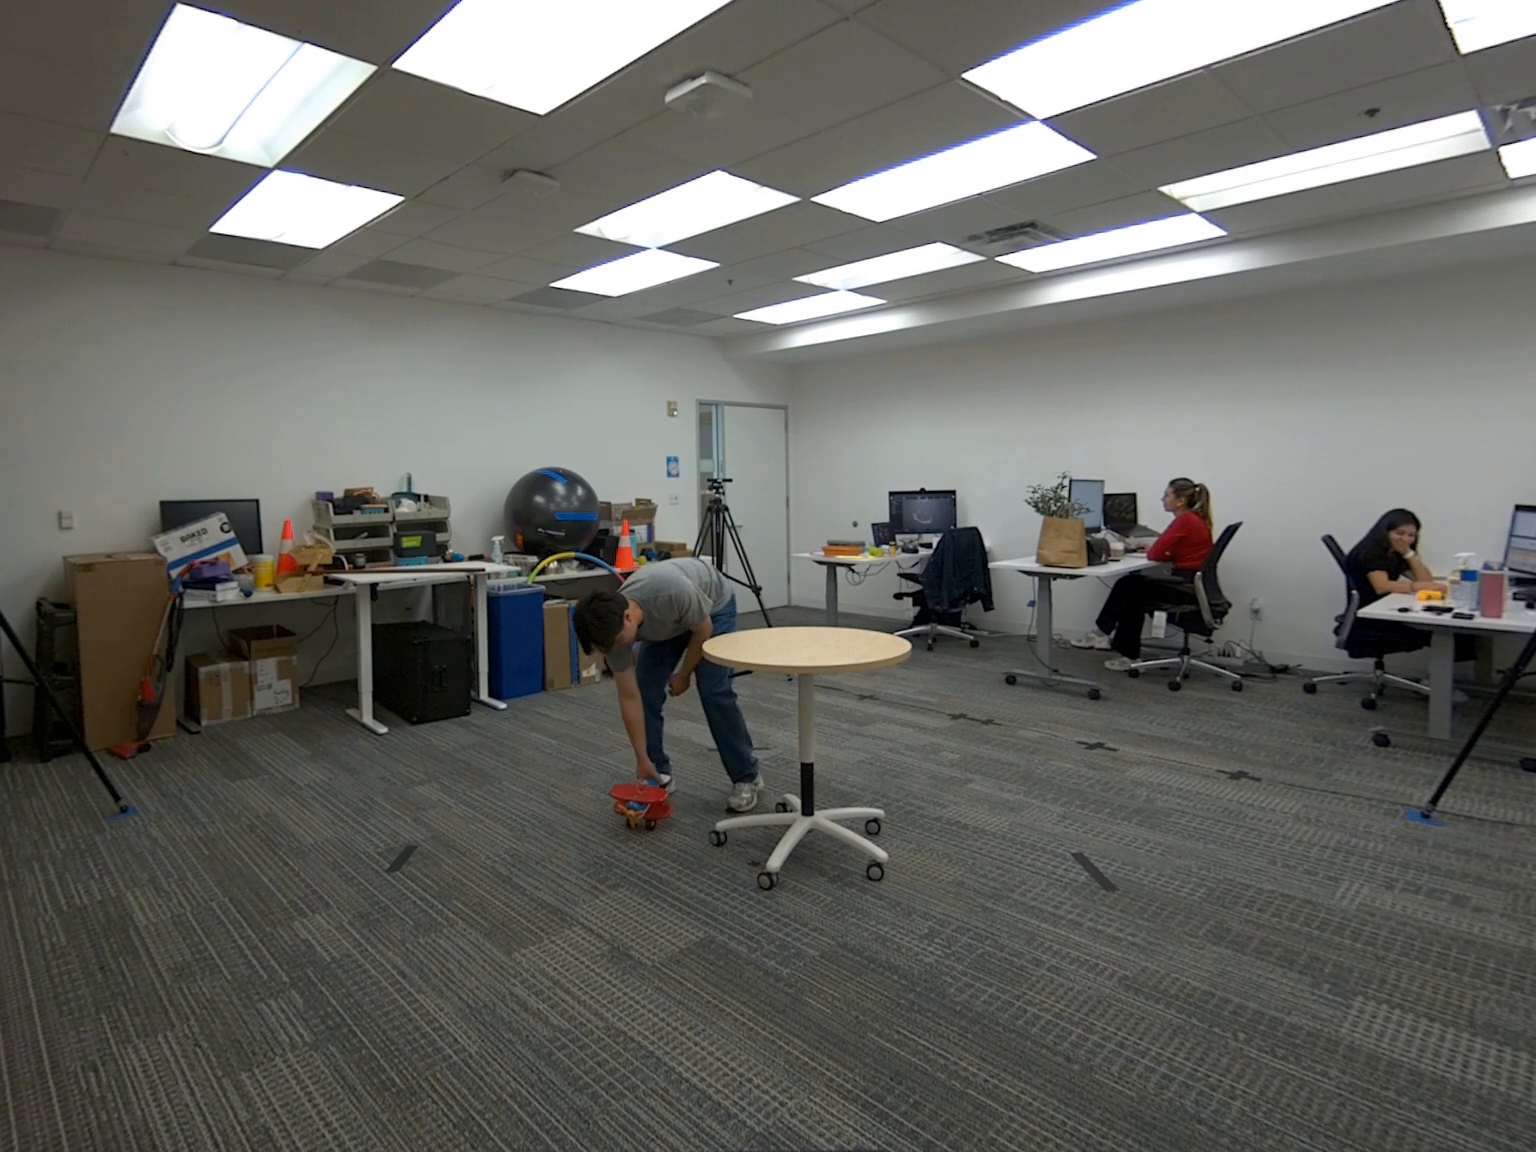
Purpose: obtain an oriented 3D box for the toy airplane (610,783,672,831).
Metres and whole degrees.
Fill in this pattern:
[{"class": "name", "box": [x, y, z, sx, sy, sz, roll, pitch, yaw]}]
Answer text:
[{"class": "toy airplane", "box": [-0.516, 0.902, 3.483, 0.251, 0.151, 0.268, -17, 36, 0]}]
